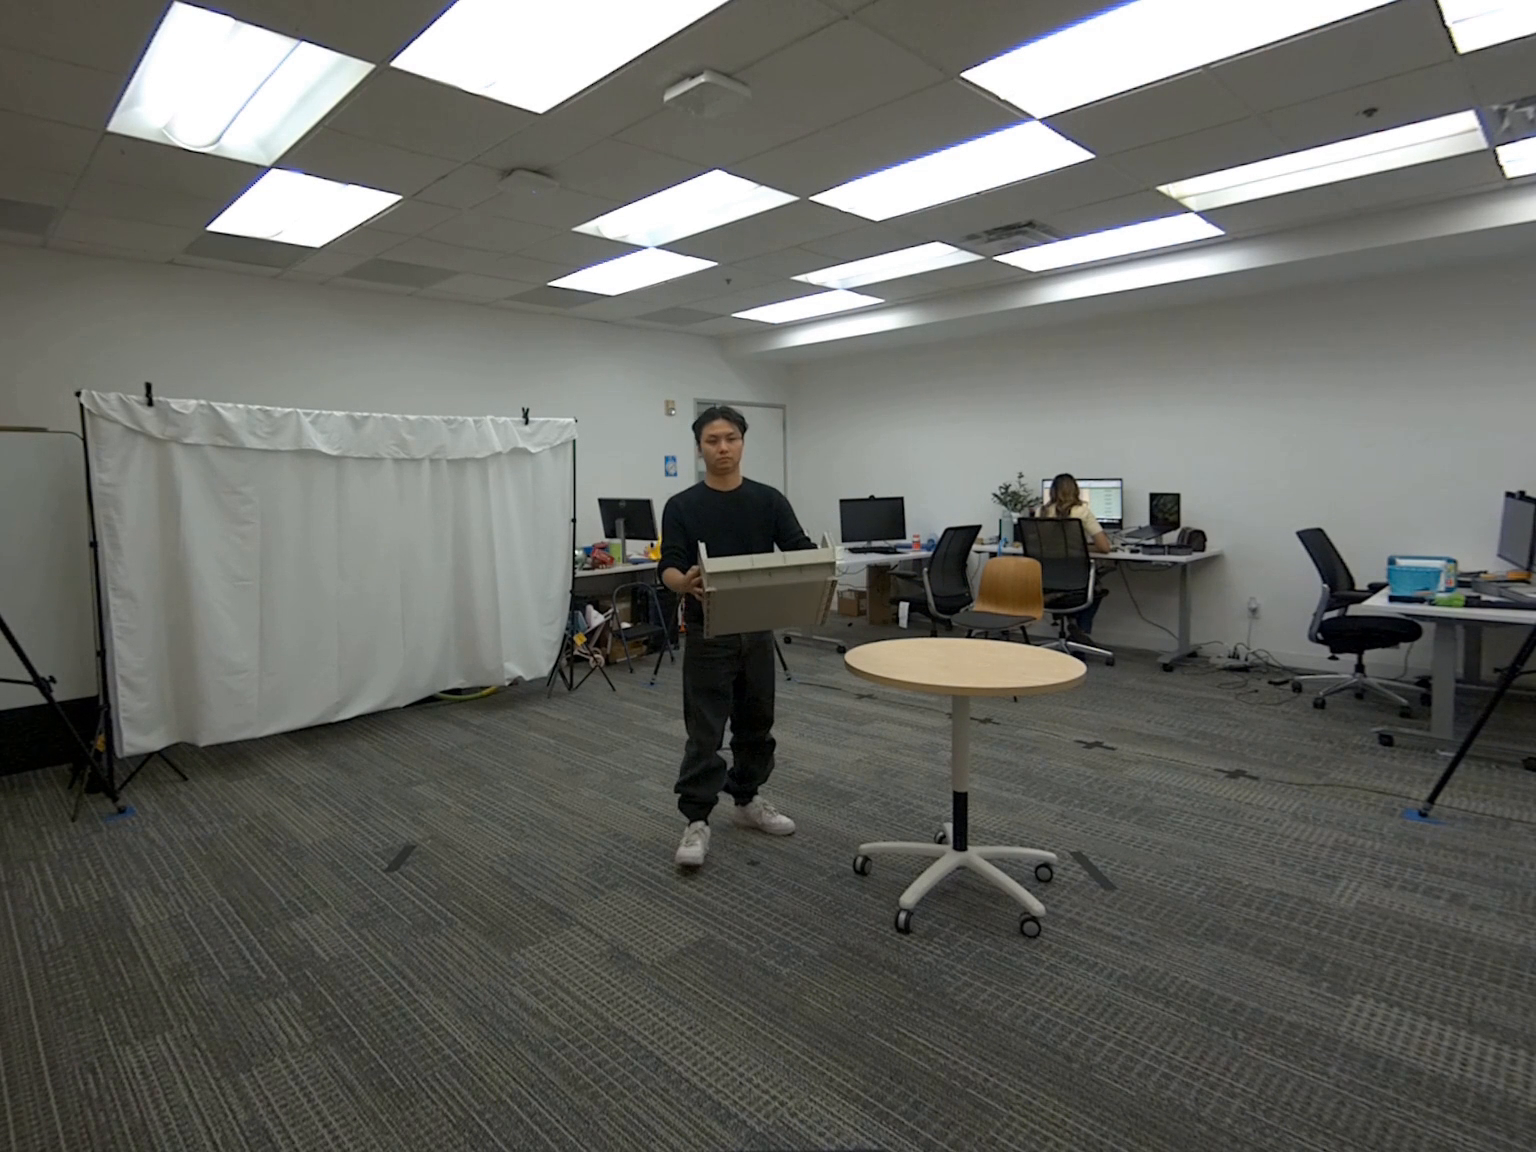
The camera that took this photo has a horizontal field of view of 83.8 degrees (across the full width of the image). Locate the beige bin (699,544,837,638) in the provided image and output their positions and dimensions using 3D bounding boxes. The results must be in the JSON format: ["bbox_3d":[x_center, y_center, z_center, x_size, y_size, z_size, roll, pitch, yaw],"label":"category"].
[{"bbox_3d":[-0.011,0.031,2.774,0.420,0.194,0.368,-5,-33,-6],"label":"beige bin"}]
